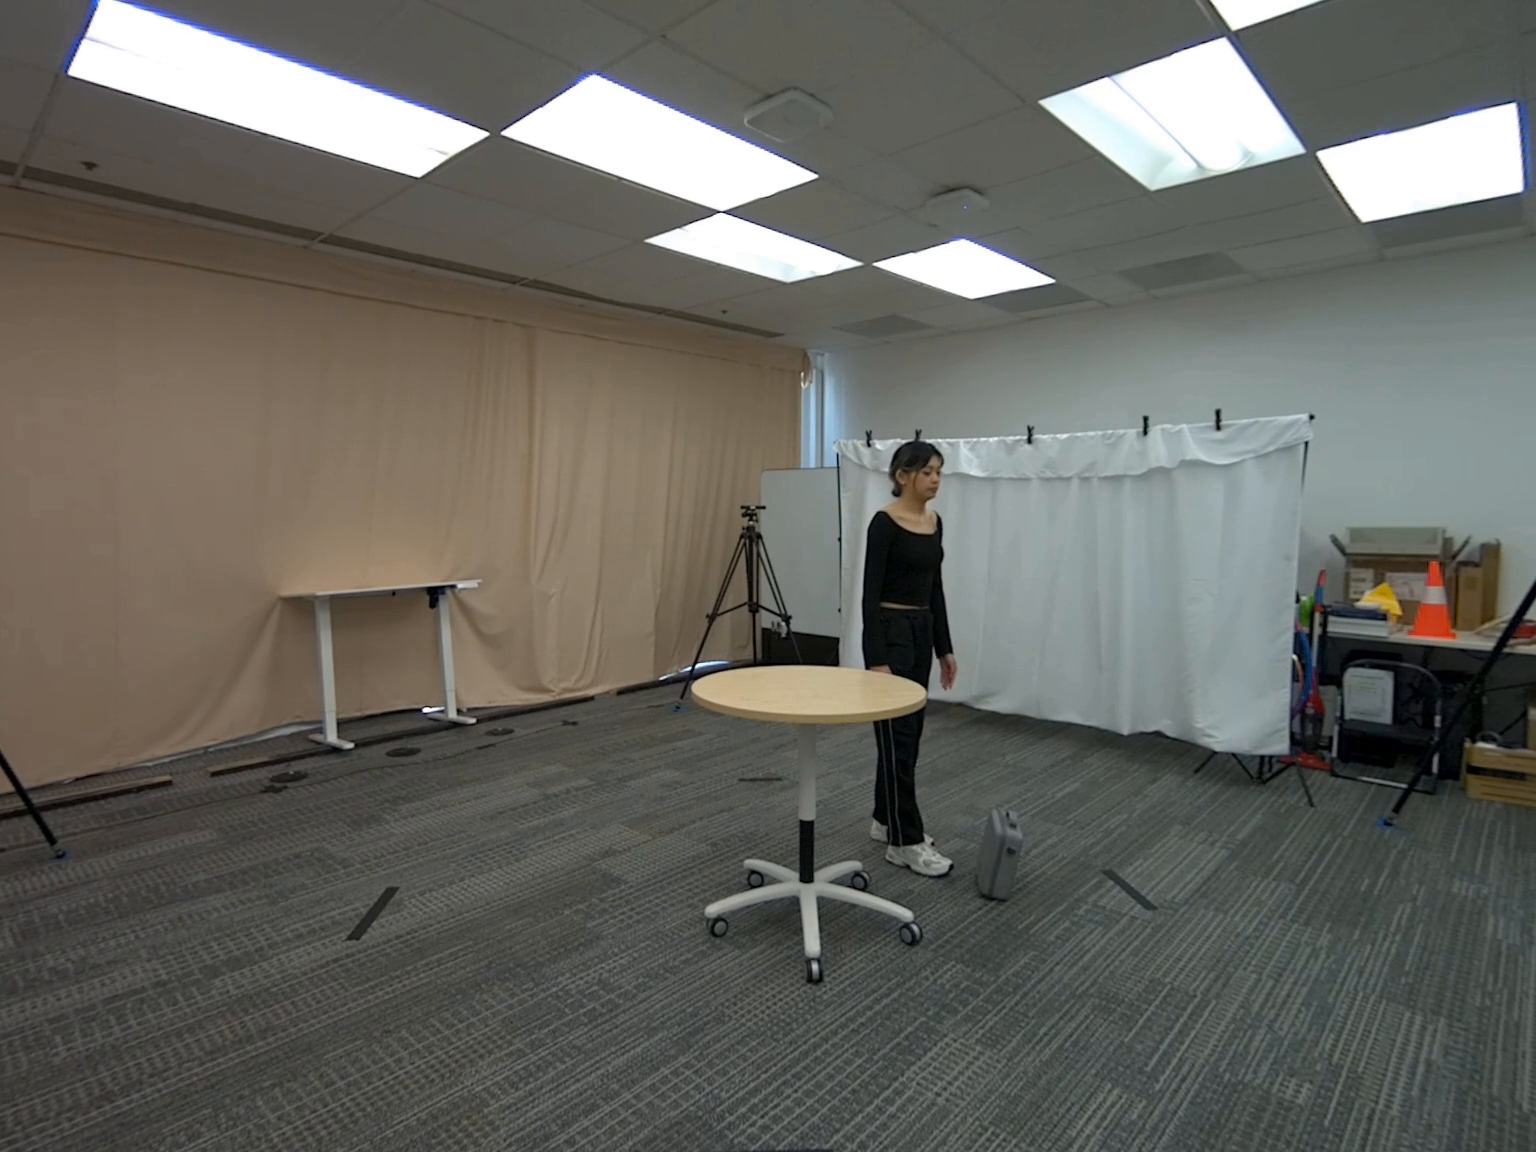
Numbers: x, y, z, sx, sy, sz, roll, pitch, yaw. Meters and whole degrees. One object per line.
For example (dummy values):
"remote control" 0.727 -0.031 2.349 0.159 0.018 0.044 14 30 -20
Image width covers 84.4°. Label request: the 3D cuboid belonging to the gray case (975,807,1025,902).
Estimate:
"gray case" 0.842 1.003 3.060 0.106 0.260 0.254 11 7 10
